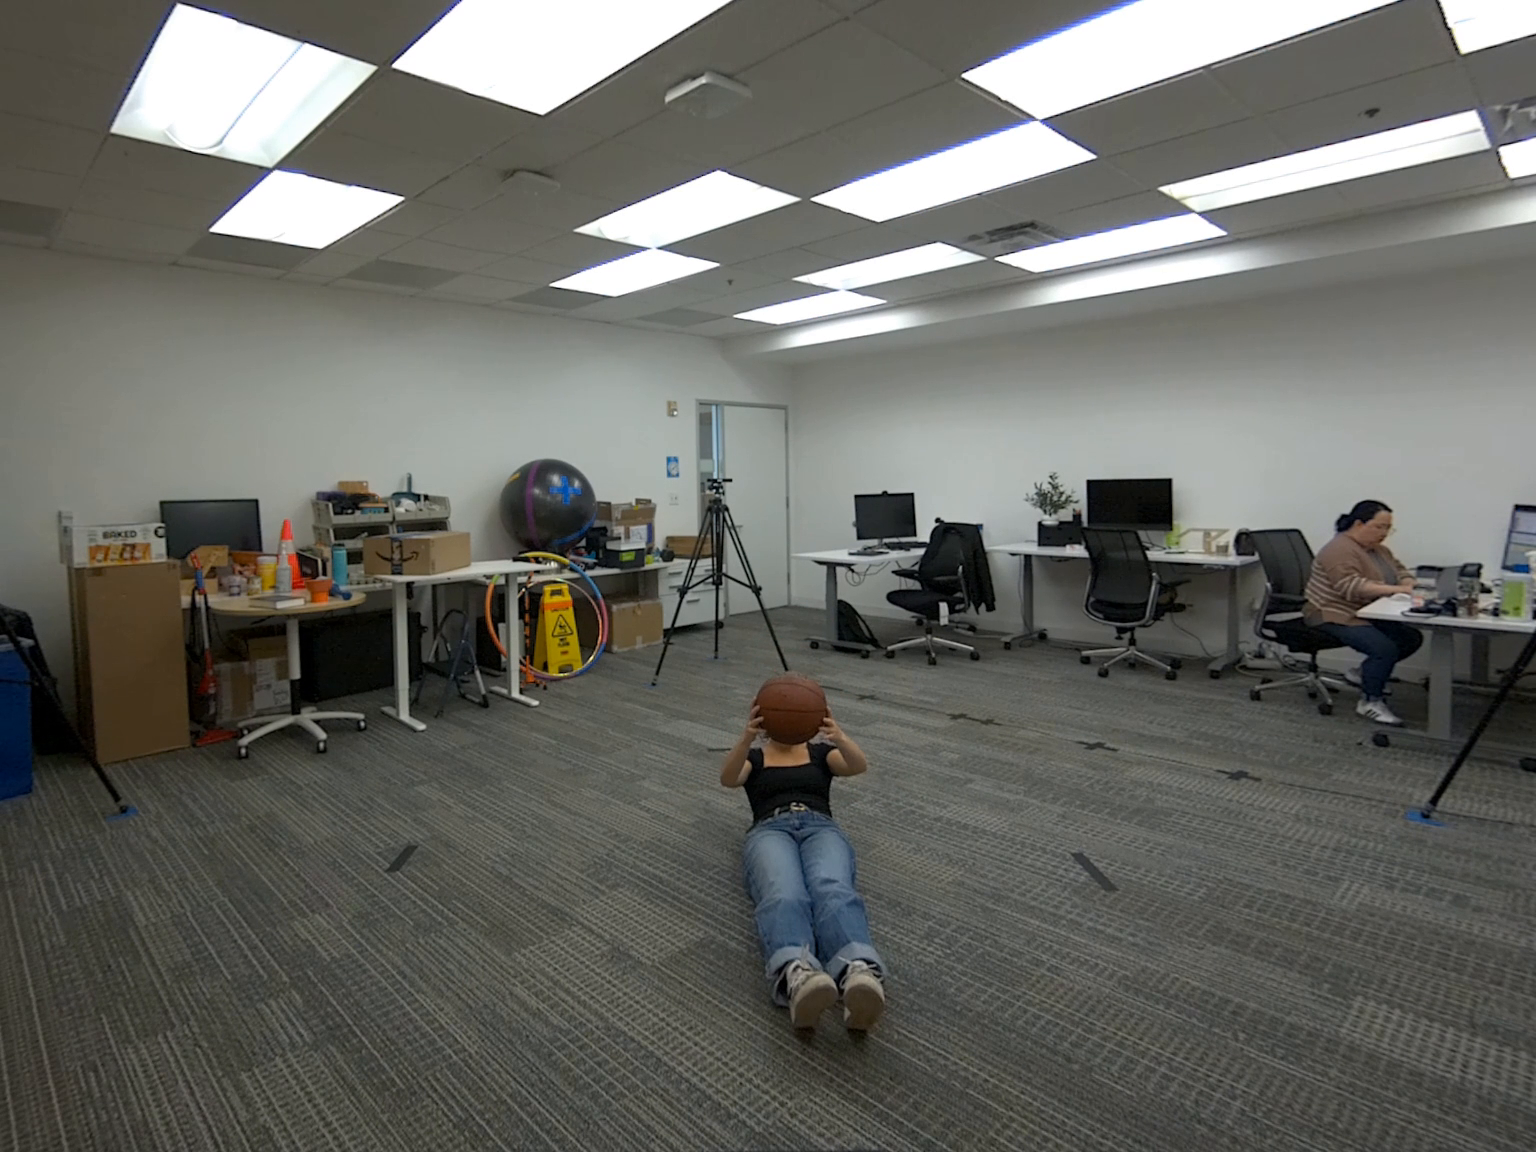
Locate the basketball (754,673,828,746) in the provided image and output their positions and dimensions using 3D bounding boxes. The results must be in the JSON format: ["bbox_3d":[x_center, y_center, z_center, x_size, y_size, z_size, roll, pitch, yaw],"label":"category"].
[{"bbox_3d":[0.077,0.434,2.833,0.236,0.235,0.237,-1,5,-2],"label":"basketball"}]
